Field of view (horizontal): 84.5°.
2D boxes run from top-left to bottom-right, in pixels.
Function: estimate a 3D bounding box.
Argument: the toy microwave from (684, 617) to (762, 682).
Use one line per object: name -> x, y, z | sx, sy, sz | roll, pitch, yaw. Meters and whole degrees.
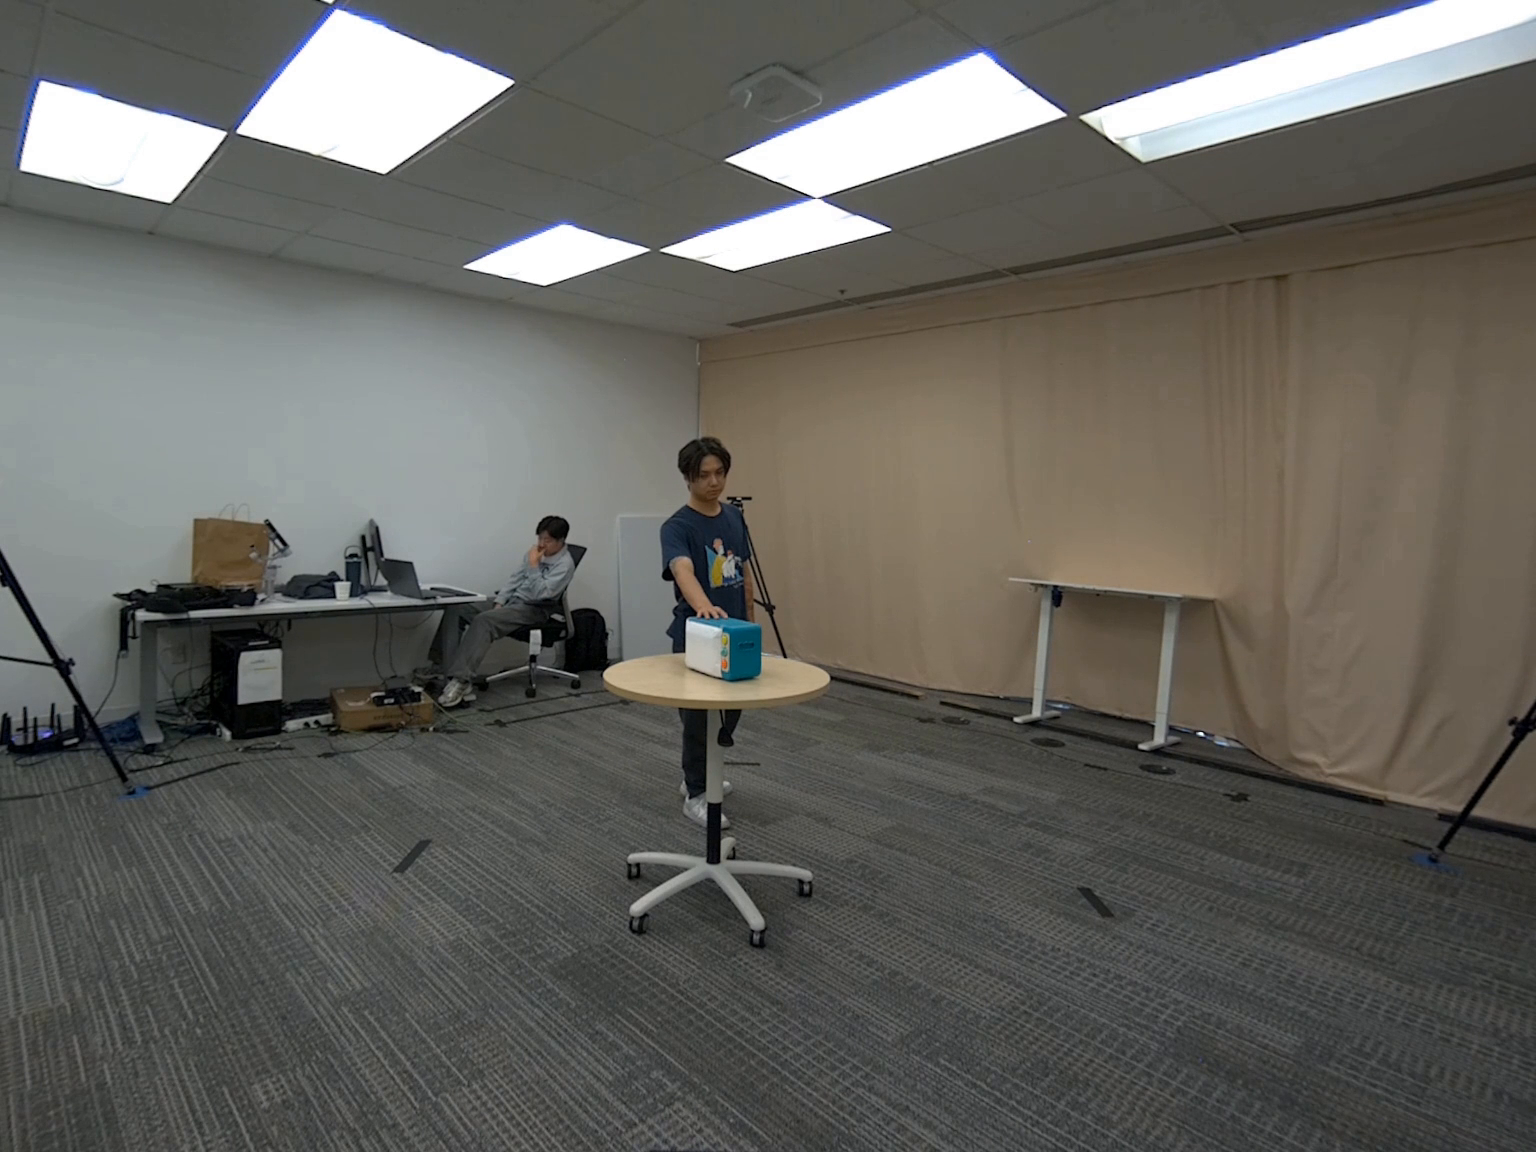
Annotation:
toy microwave -> -0.169, 0.244, 2.843 | 0.149, 0.183, 0.293 | -2, 5, -35
